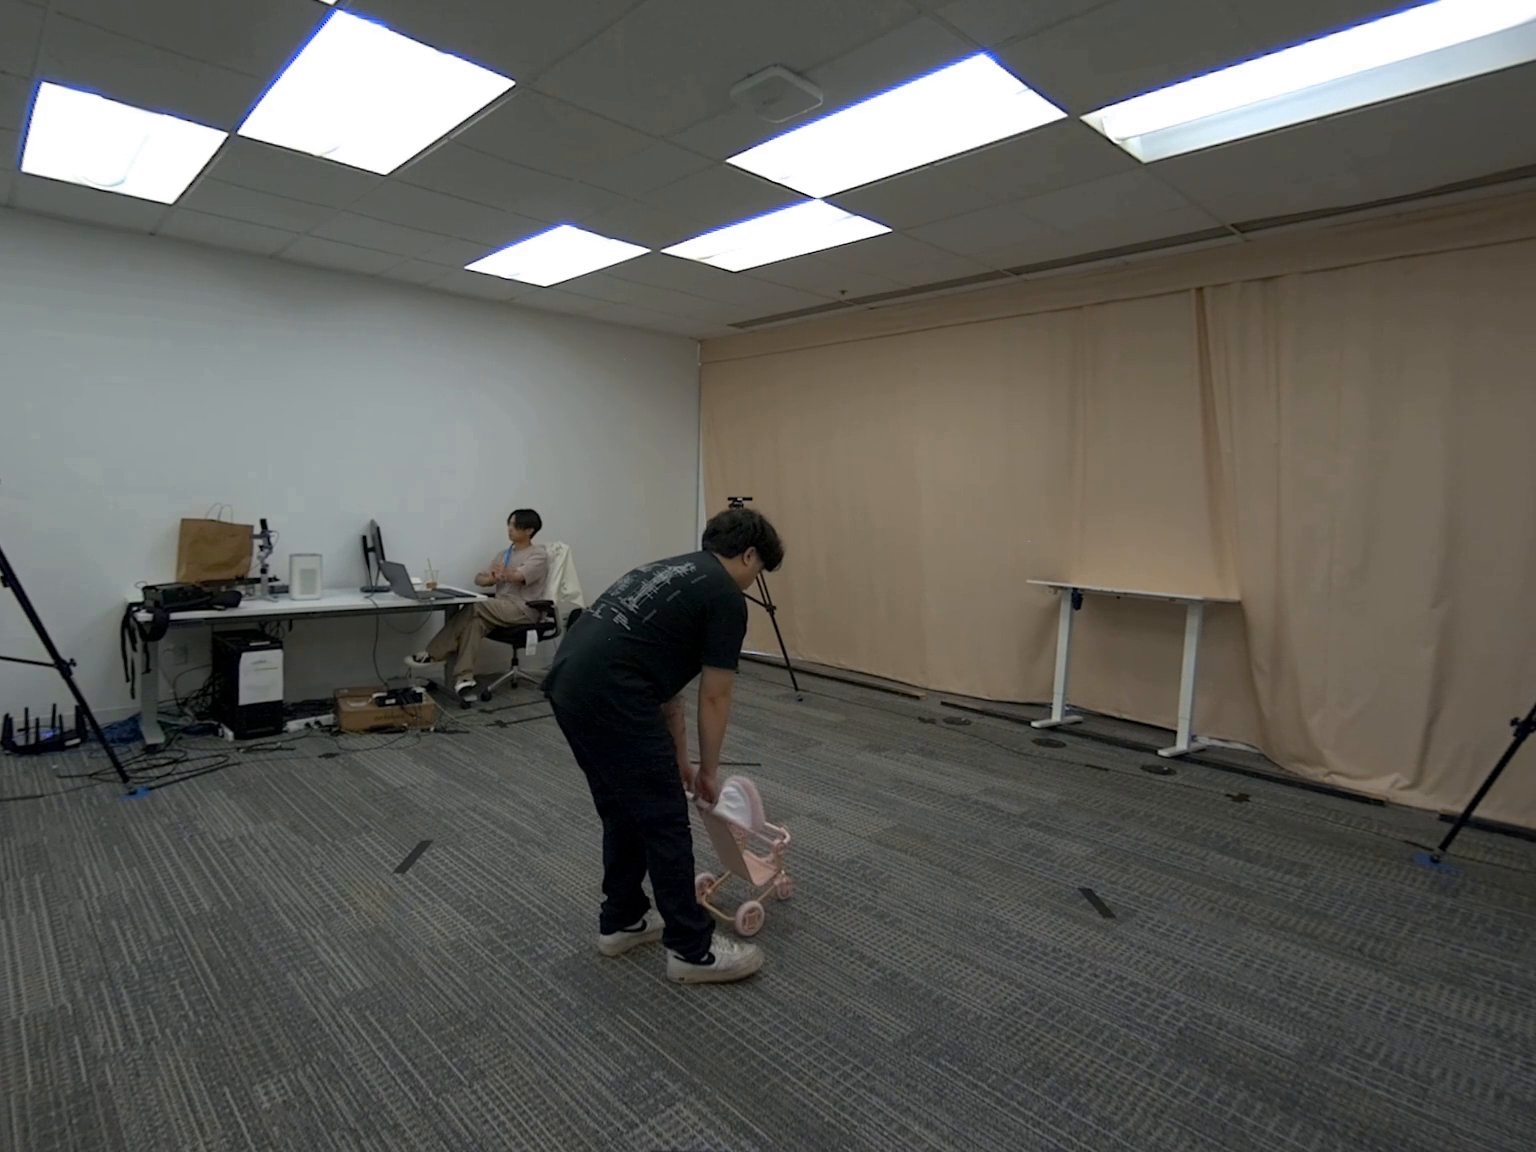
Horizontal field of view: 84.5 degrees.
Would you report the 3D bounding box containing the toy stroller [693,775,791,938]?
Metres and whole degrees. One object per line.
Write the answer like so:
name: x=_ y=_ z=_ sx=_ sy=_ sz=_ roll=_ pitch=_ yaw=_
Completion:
toy stroller: x=-0.085 y=0.907 z=2.807 sx=0.336 sy=0.530 sz=0.288 roll=-18 pitch=13 yaw=-33
